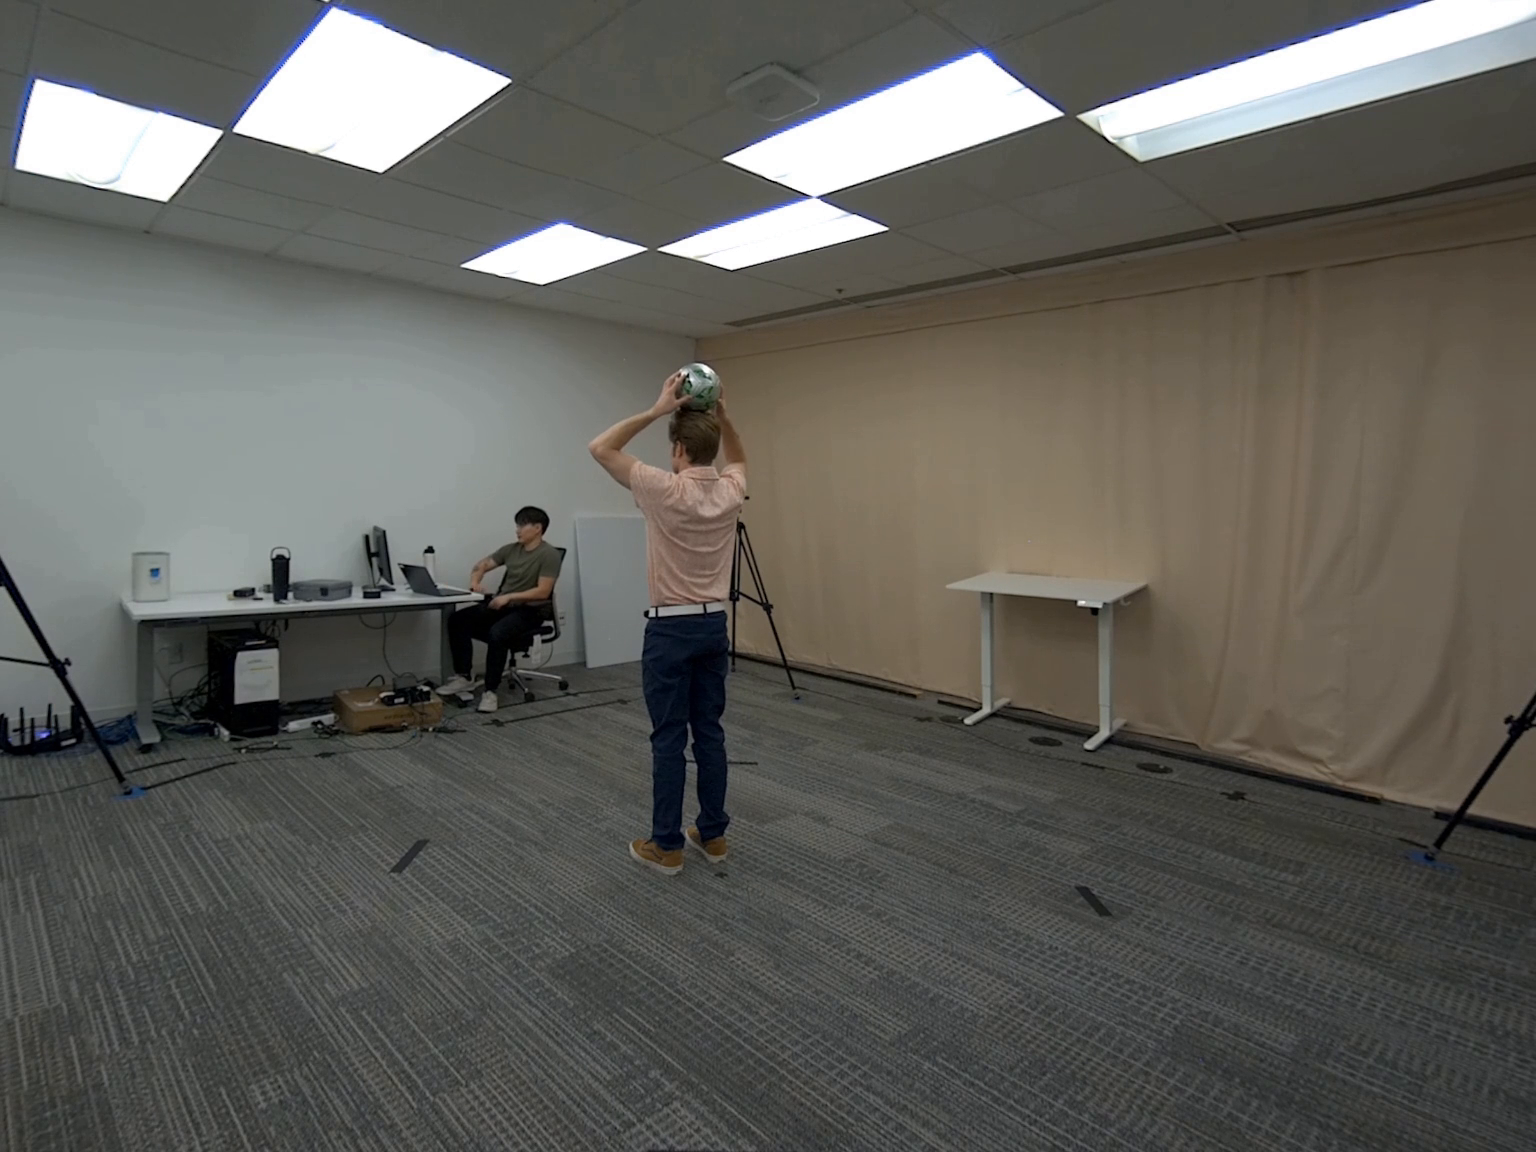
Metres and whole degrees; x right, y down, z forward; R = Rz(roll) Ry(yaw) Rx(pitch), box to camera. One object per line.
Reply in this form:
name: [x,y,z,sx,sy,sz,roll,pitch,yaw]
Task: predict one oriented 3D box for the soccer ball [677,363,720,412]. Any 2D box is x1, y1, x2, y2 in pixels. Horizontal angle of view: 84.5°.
soccer ball: [-0.278,-0.700,3.161,0.187,0.187,0.188,1,4,-1]
